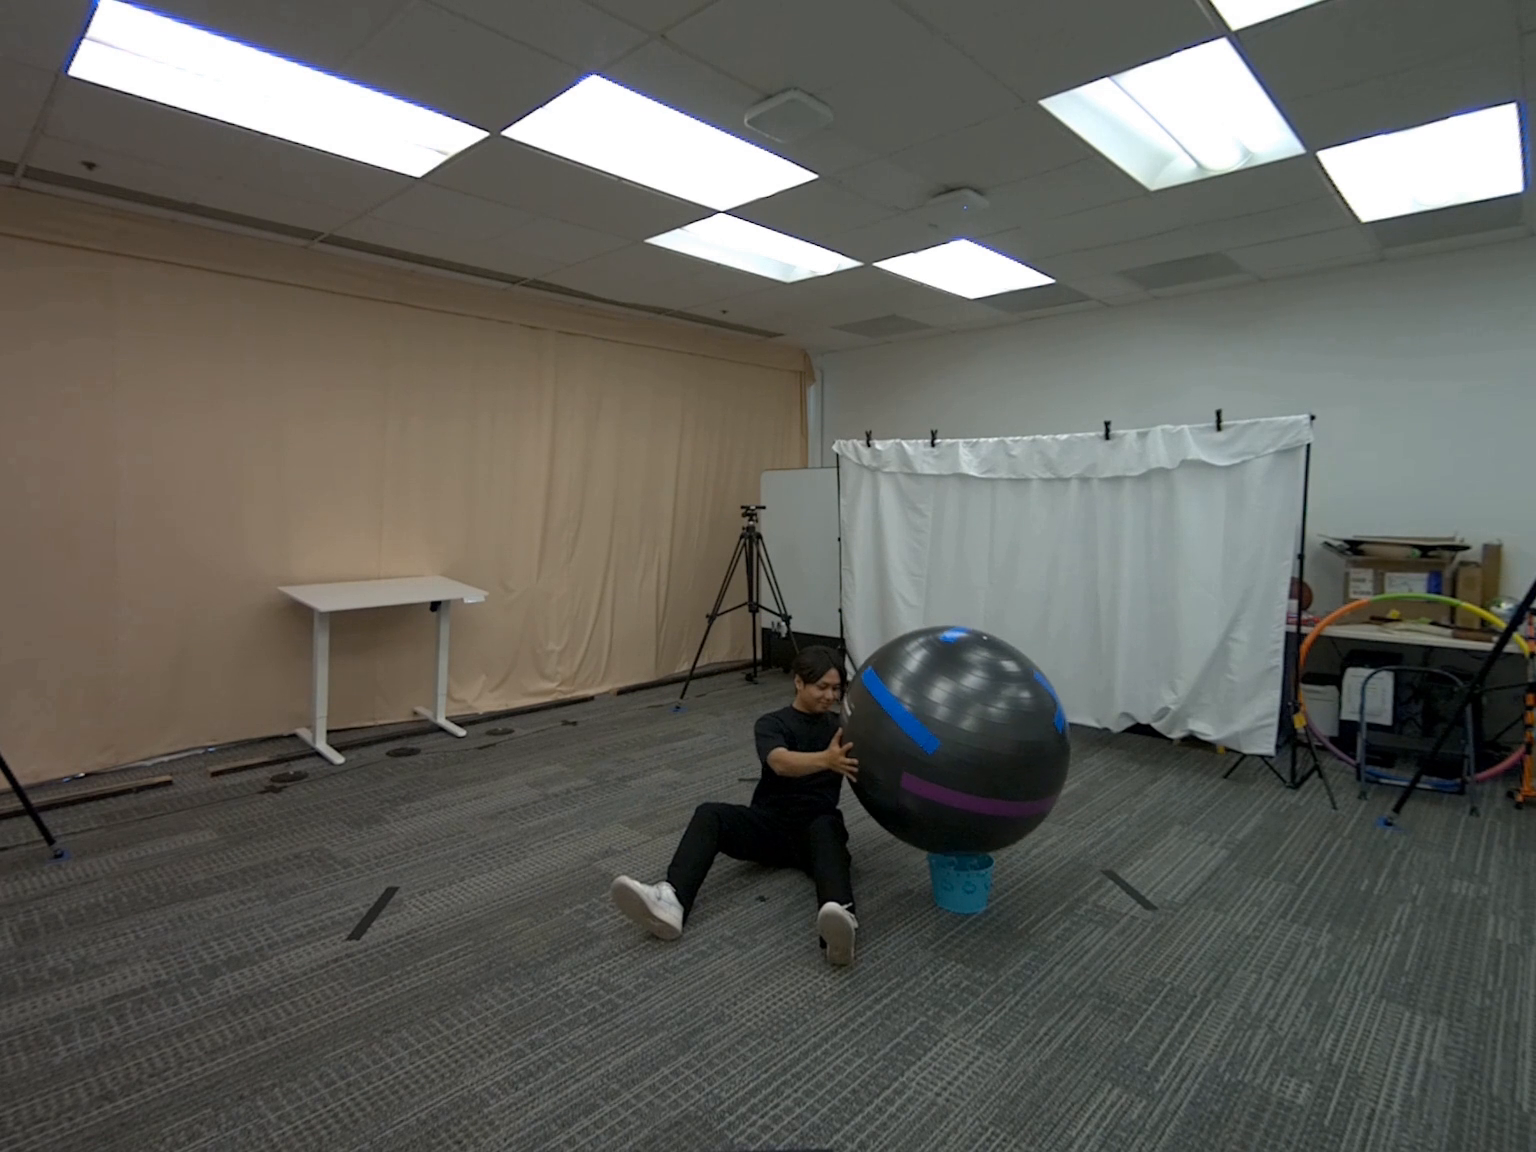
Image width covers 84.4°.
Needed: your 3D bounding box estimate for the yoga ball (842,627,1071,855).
[{"bbox_3d":[0.628,0.568,2.868,0.757,0.756,0.760,0,4,-2],"label":"yoga ball"}]
